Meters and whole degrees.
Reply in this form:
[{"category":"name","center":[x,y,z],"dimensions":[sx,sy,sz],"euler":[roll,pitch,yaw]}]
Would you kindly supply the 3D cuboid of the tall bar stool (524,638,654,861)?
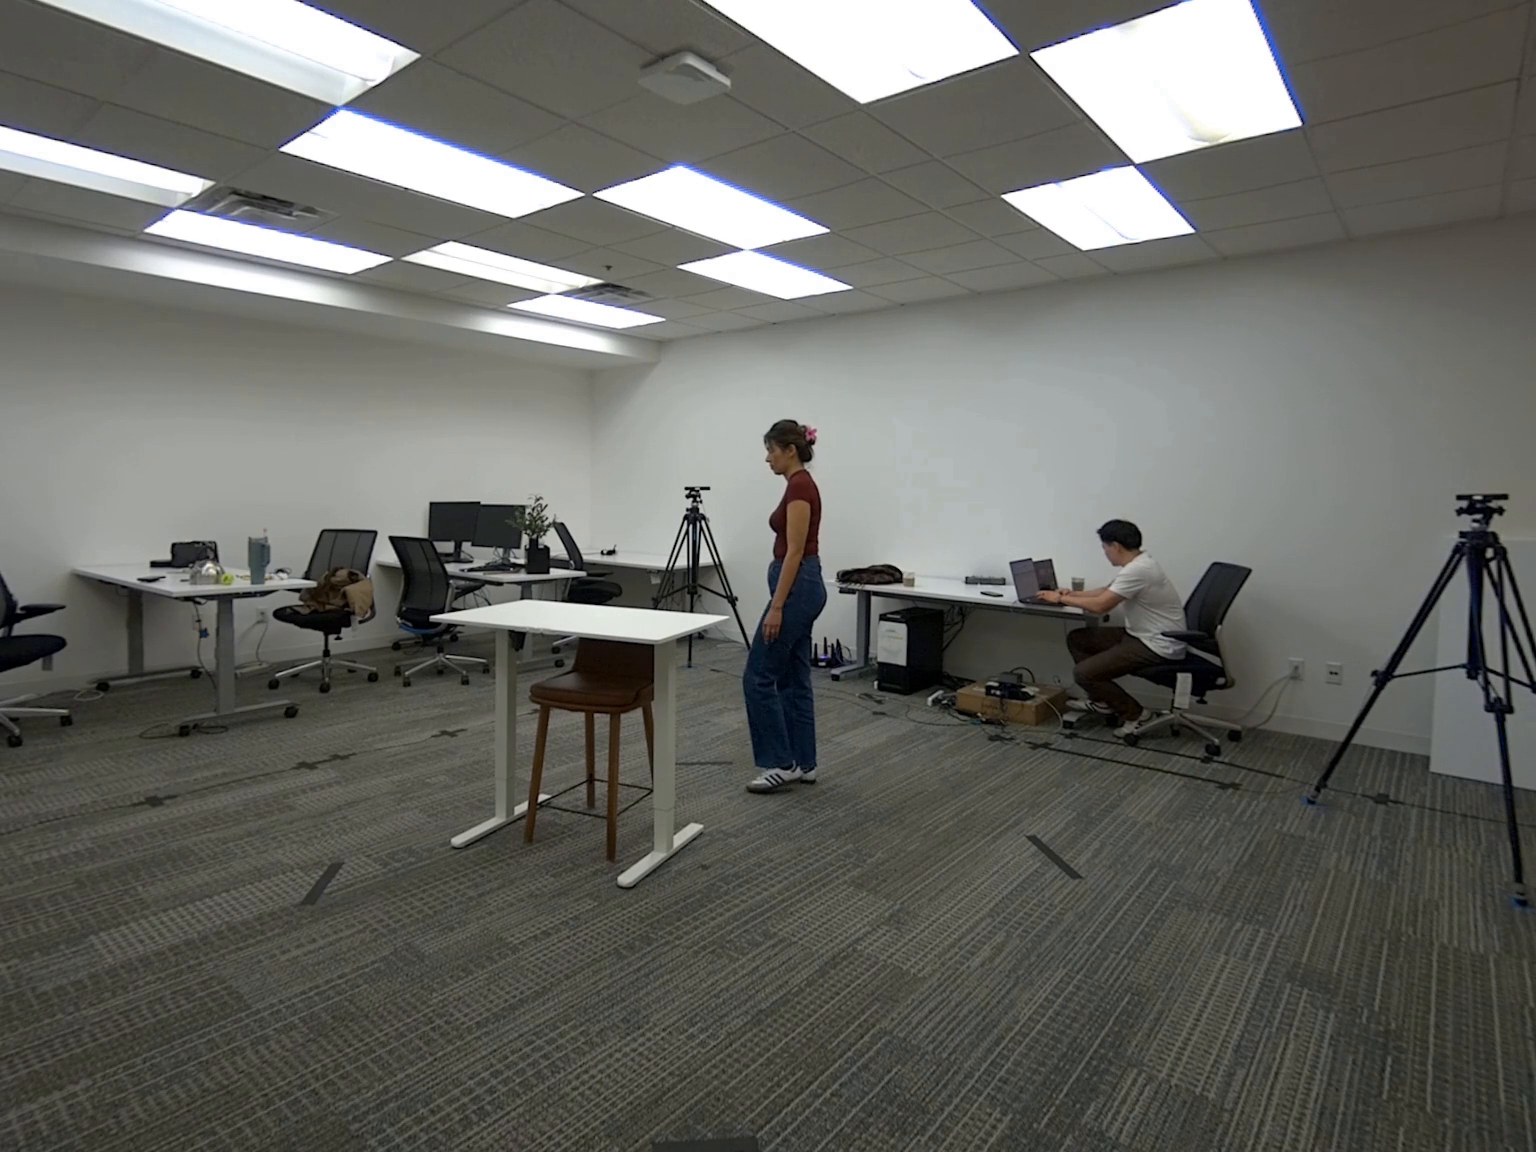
[{"category":"tall bar stool","center":[-0.688,0.599,3.414],"dimensions":[0.468,0.889,0.457],"euler":[2,2,23]}]
